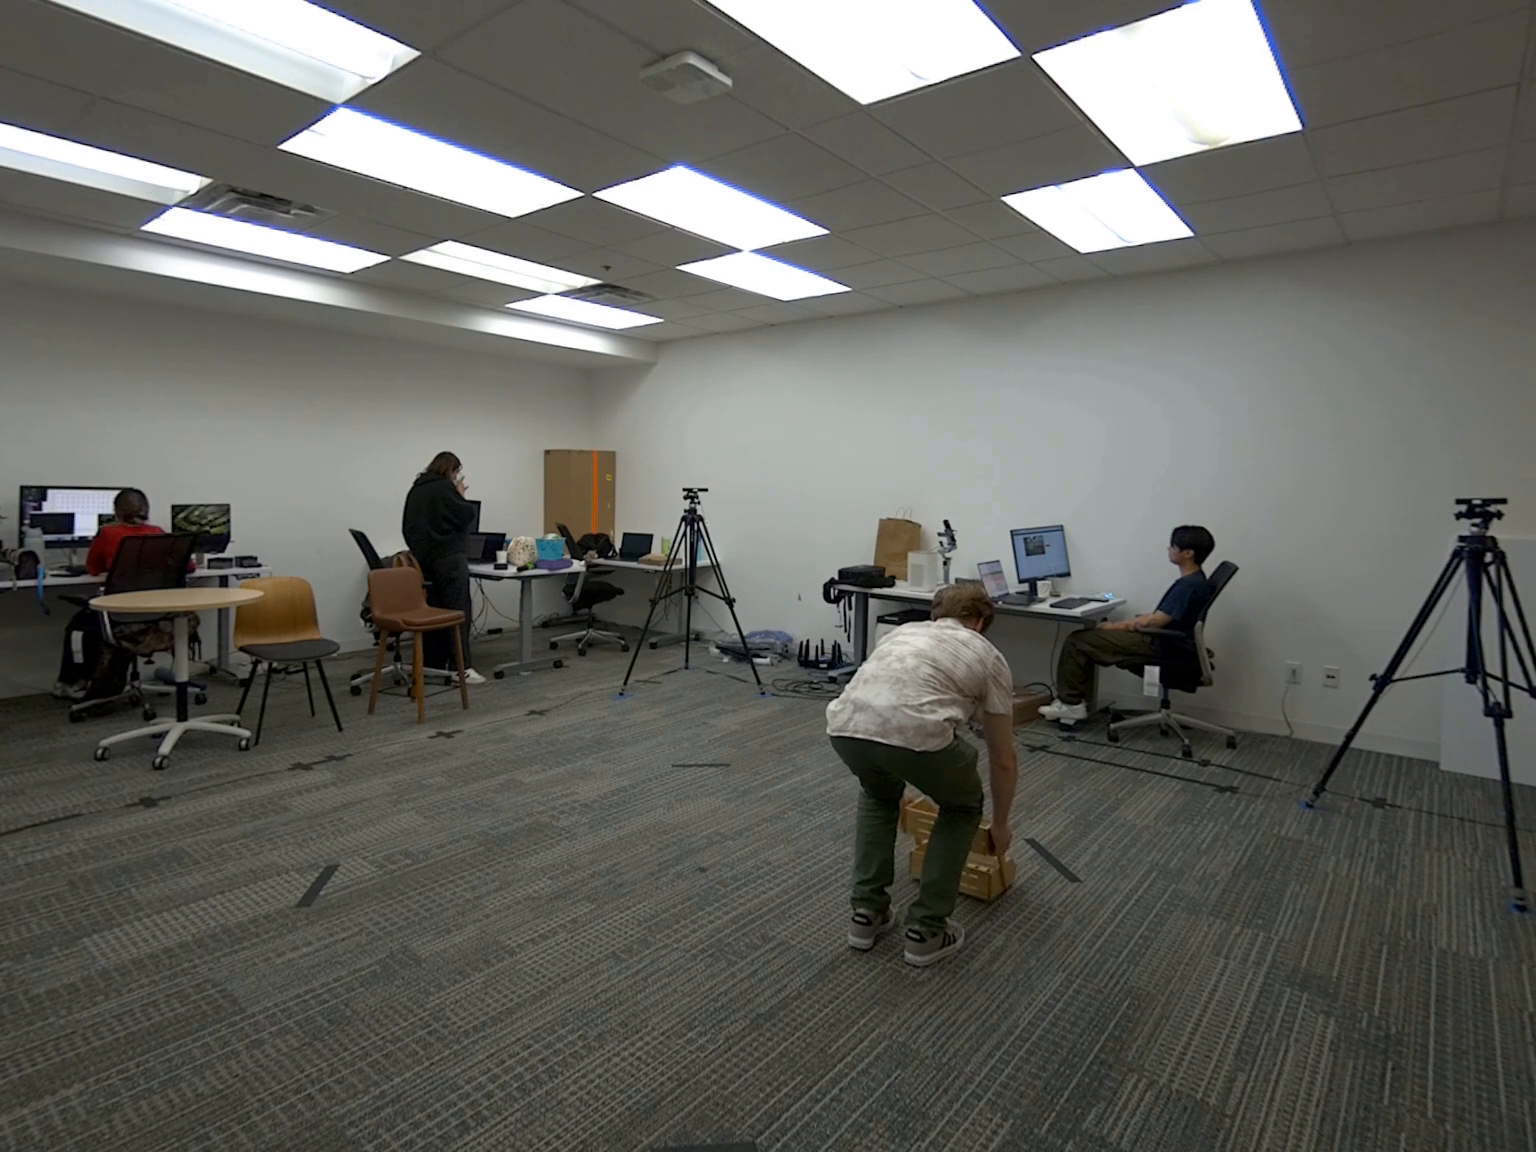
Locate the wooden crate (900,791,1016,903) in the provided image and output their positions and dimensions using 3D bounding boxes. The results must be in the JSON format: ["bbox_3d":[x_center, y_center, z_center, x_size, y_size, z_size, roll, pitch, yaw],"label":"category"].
[{"bbox_3d":[0.687,0.947,3.038,0.335,0.272,0.293,4,4,37],"label":"wooden crate"}]
